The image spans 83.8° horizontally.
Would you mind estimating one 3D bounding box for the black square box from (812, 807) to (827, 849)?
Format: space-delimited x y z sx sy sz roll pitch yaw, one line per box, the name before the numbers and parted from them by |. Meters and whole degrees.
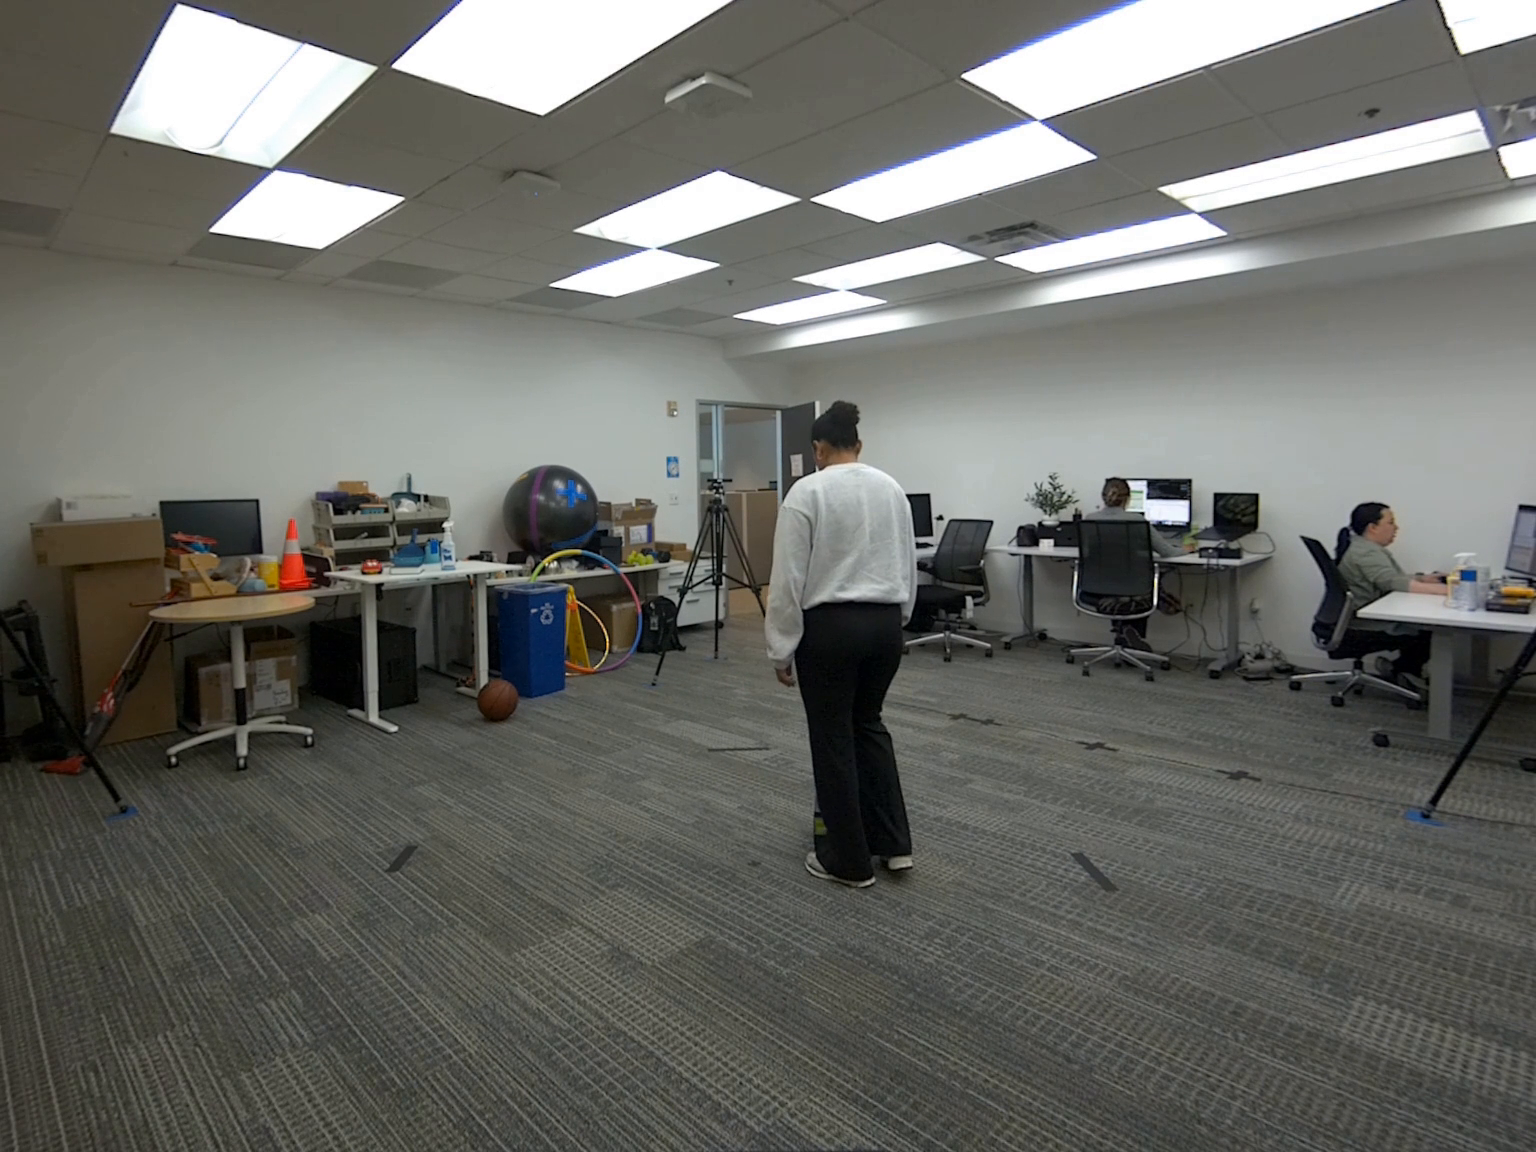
black square box | 0.297 0.939 3.272 0.230 0.155 0.216 0 5 8
